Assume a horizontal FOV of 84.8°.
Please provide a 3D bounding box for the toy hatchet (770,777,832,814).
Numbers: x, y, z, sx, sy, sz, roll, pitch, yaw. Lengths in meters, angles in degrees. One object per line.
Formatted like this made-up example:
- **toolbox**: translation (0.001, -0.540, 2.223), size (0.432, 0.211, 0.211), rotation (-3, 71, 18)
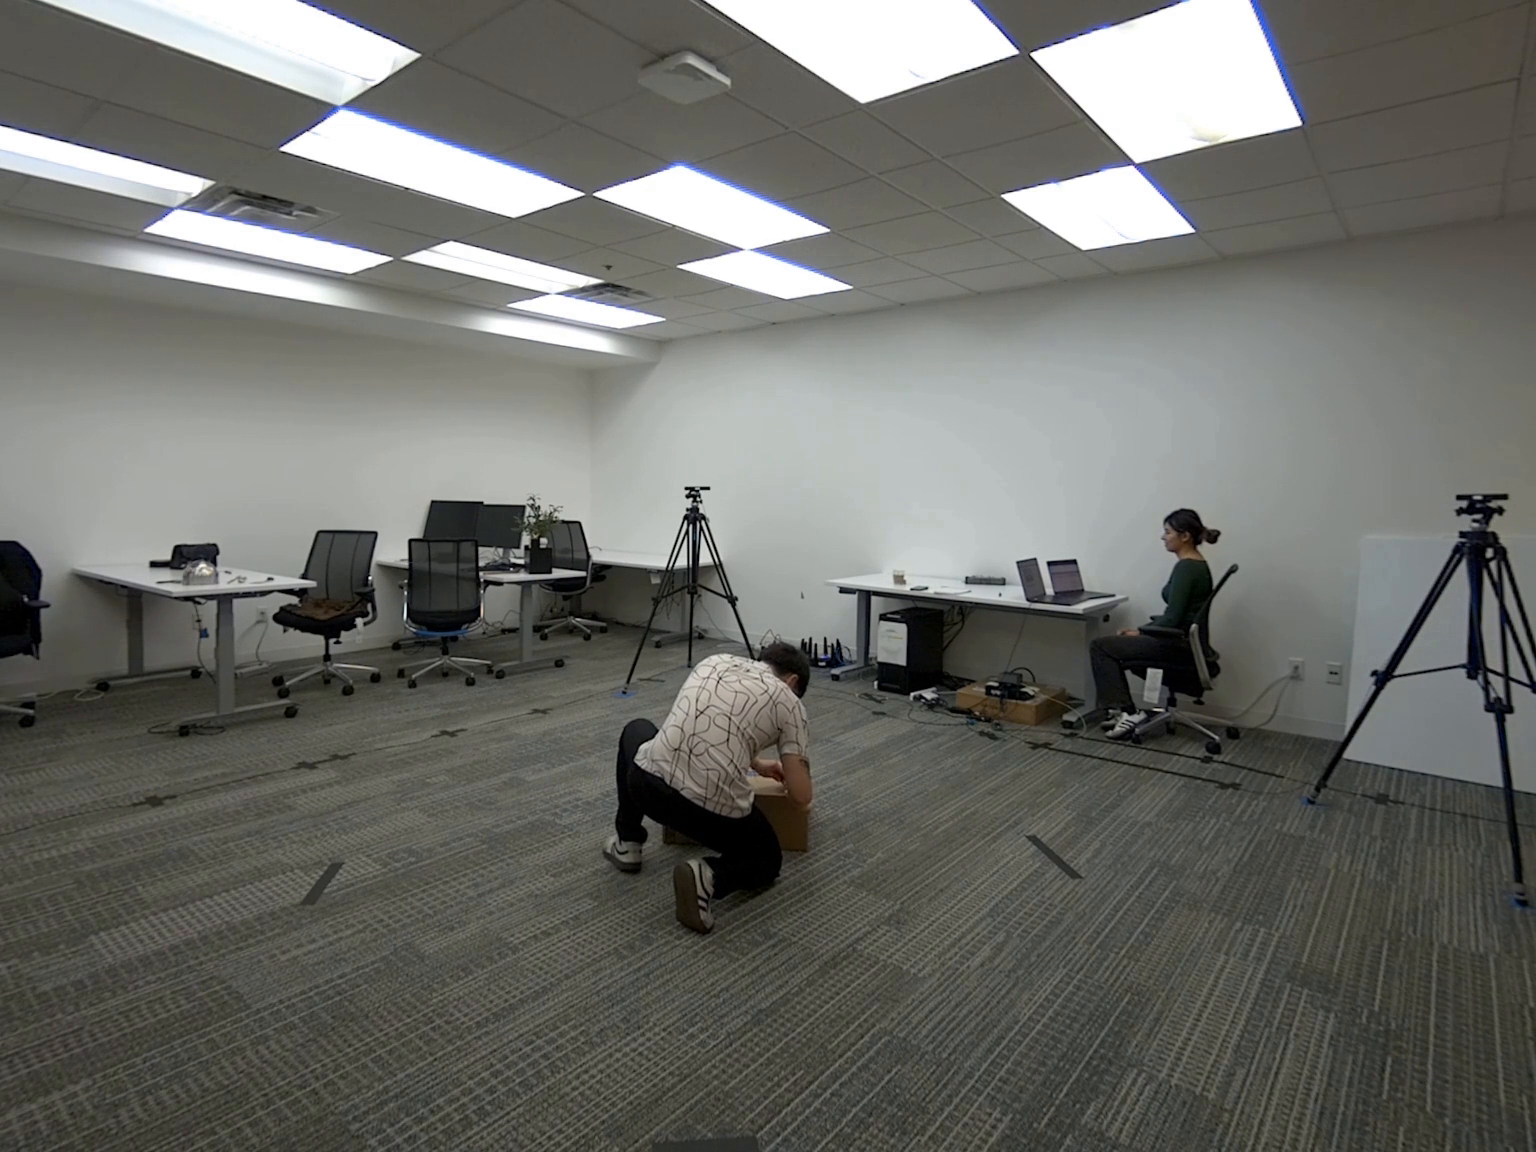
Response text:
- **toy hatchet**: translation (0.111, 0.821, 3.251), size (0.126, 0.029, 0.280), rotation (26, 1, -34)
